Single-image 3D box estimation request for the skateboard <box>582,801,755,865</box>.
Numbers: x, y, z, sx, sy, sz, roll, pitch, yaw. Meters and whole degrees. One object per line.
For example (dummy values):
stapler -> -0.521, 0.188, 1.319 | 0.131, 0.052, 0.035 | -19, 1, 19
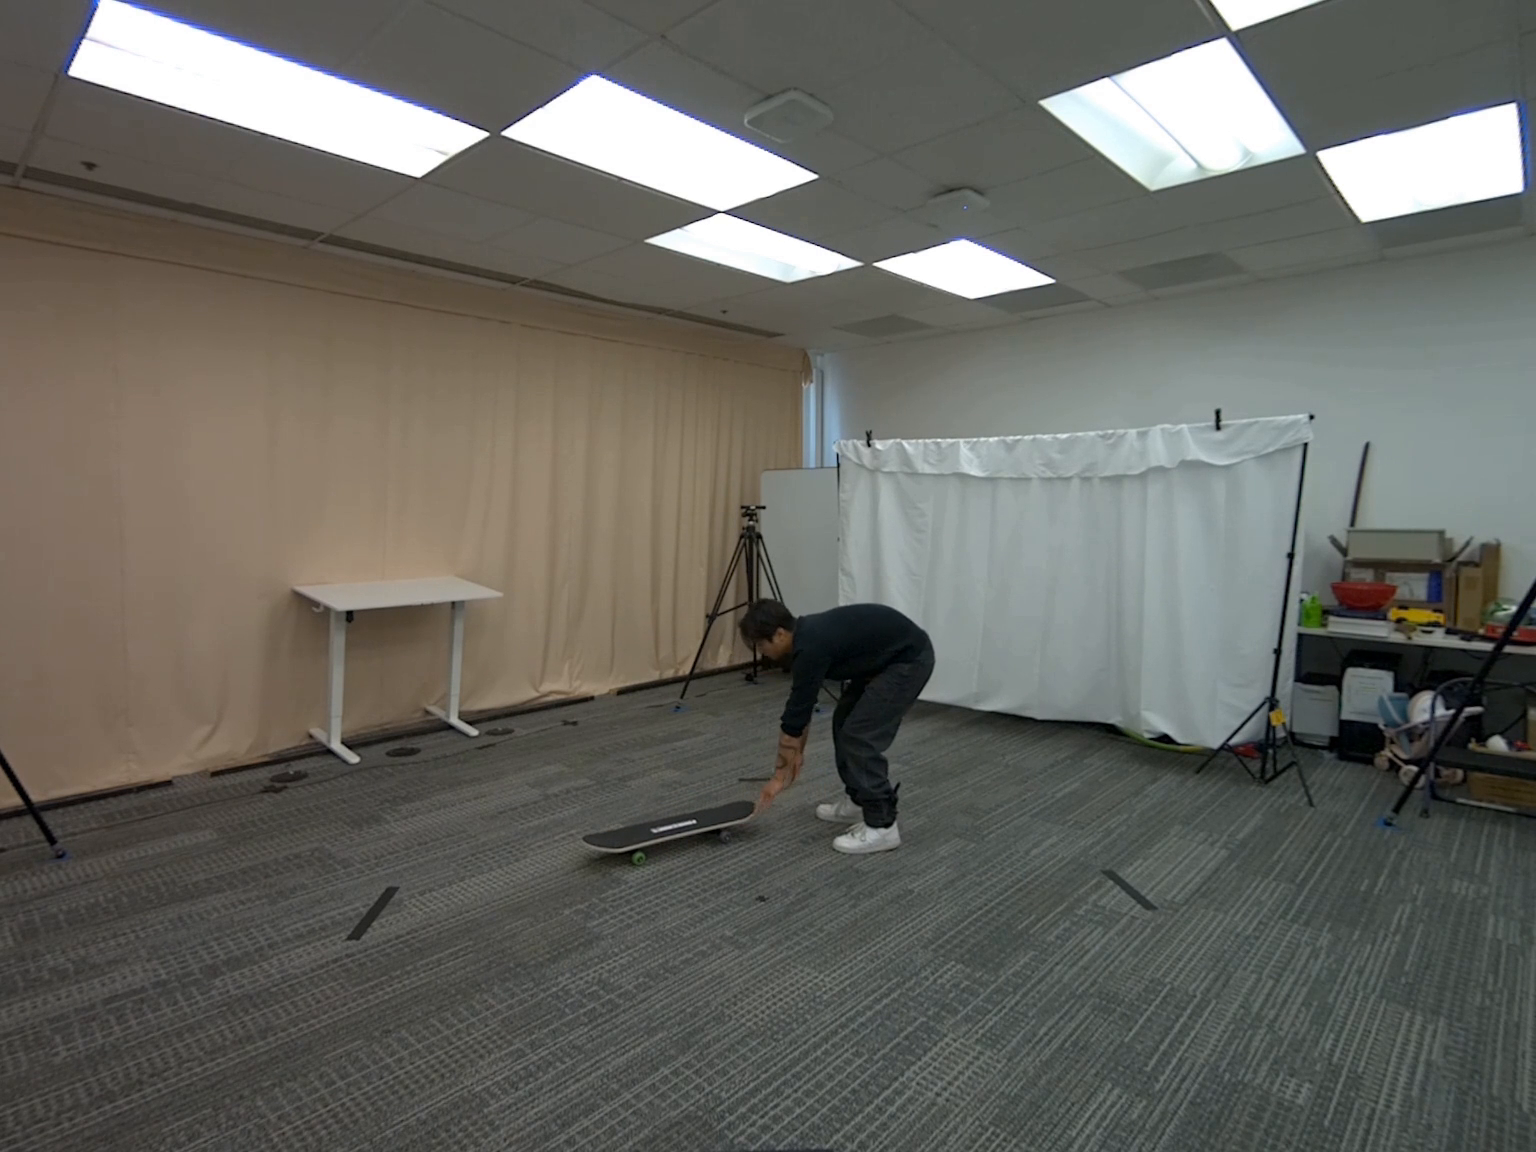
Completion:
skateboard -> -0.388, 1.053, 3.441 | 0.764, 0.110, 0.199 | -3, 4, -32
